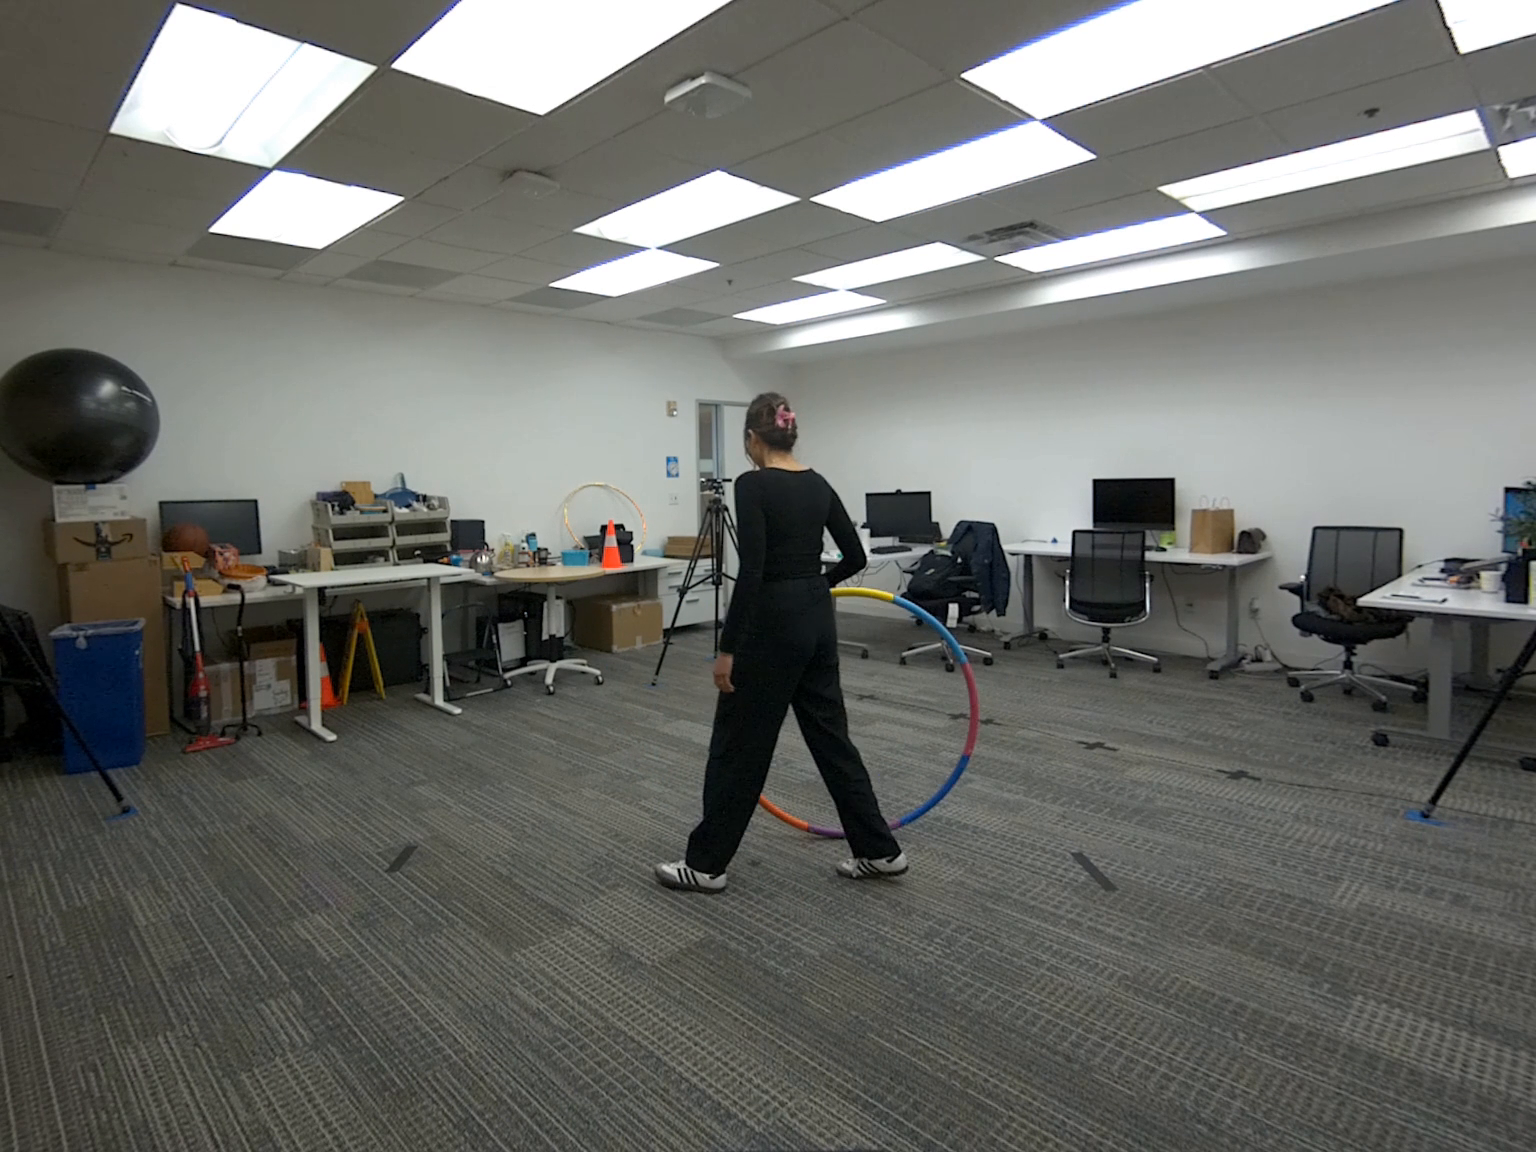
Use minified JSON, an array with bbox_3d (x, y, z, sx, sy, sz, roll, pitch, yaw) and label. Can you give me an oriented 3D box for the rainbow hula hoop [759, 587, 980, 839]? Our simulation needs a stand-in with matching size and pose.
[{"bbox_3d":[0.292,0.534,3.287,0.979,0.976,0.035,-1,3,1],"label":"rainbow hula hoop"}]
